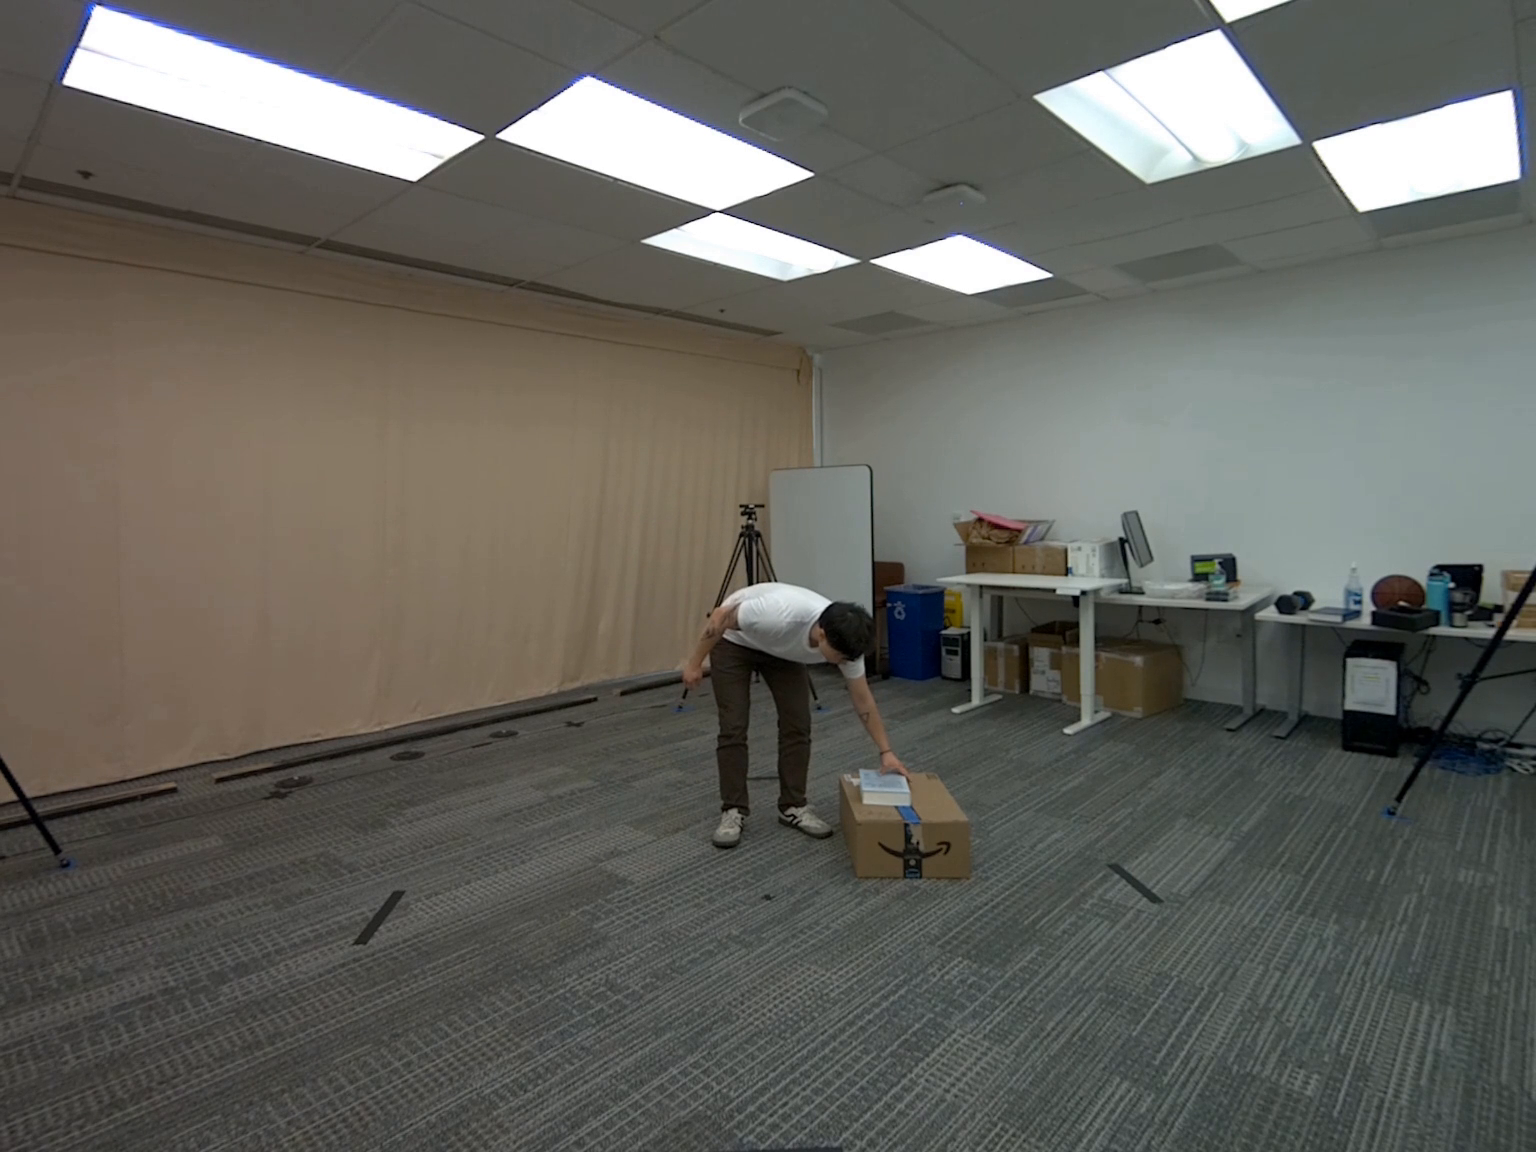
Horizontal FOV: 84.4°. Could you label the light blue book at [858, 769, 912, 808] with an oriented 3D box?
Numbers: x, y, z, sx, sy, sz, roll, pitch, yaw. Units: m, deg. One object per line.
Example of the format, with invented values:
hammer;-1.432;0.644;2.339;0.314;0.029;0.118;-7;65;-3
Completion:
light blue book;0.480;0.860;3.431;0.192;0.059;0.260;1;4;4
